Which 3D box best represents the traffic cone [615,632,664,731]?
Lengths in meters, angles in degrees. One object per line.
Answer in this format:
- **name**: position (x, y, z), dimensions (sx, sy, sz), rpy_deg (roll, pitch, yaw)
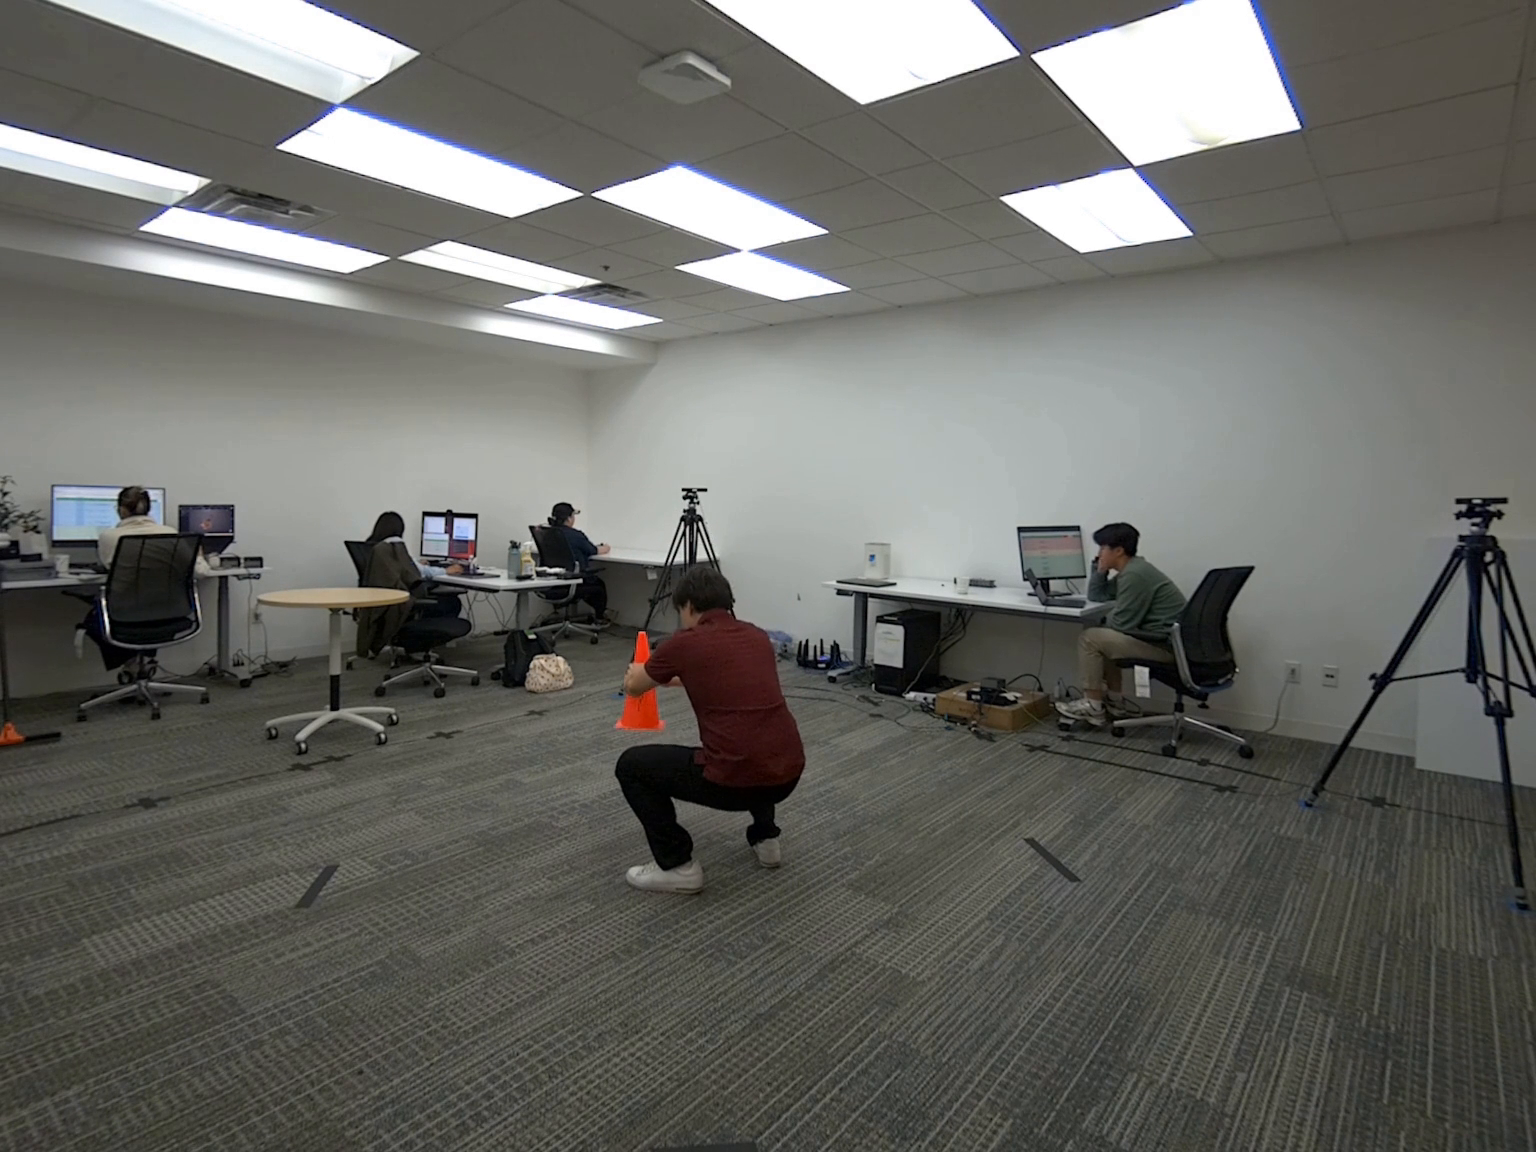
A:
- **traffic cone**: position (-0.533, 0.412, 3.517), dimensions (0.203, 0.383, 0.206), rpy_deg (2, 2, -10)
